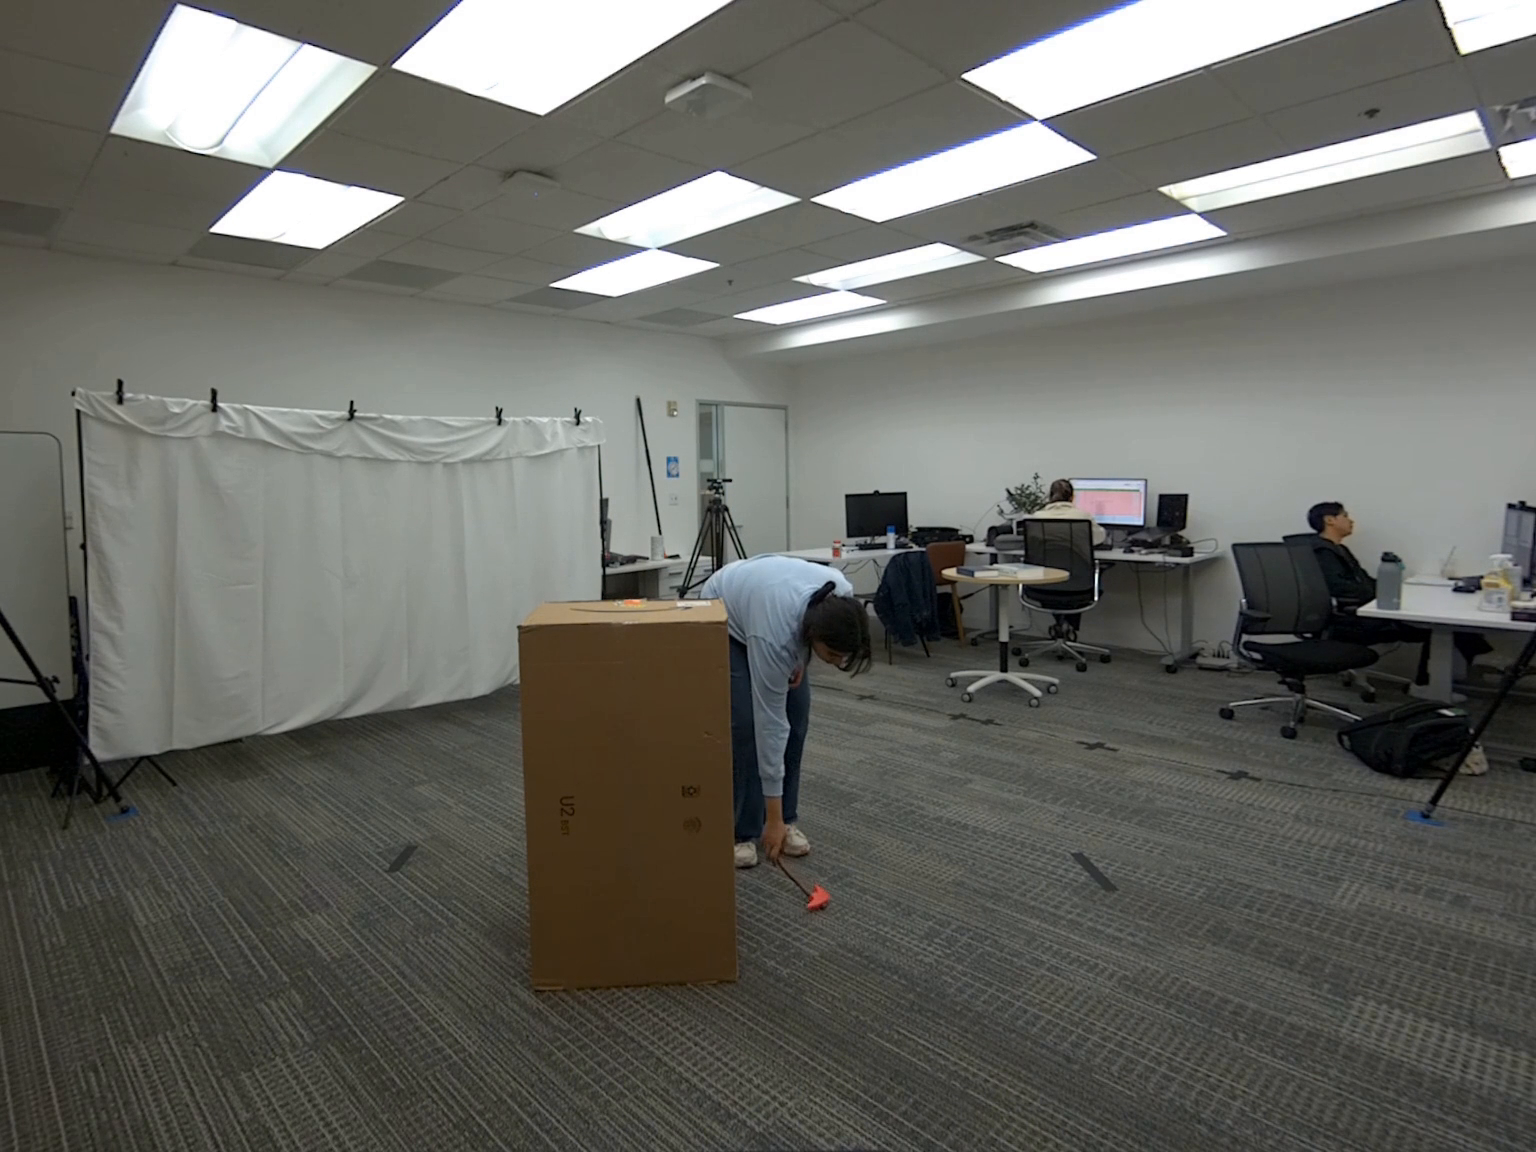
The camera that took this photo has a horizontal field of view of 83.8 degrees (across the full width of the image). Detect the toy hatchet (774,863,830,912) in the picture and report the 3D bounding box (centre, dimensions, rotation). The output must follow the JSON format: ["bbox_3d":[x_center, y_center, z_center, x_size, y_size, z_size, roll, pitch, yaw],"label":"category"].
[{"bbox_3d":[0.119,1.019,2.860,0.127,0.029,0.281,9,21,-35],"label":"toy hatchet"}]
